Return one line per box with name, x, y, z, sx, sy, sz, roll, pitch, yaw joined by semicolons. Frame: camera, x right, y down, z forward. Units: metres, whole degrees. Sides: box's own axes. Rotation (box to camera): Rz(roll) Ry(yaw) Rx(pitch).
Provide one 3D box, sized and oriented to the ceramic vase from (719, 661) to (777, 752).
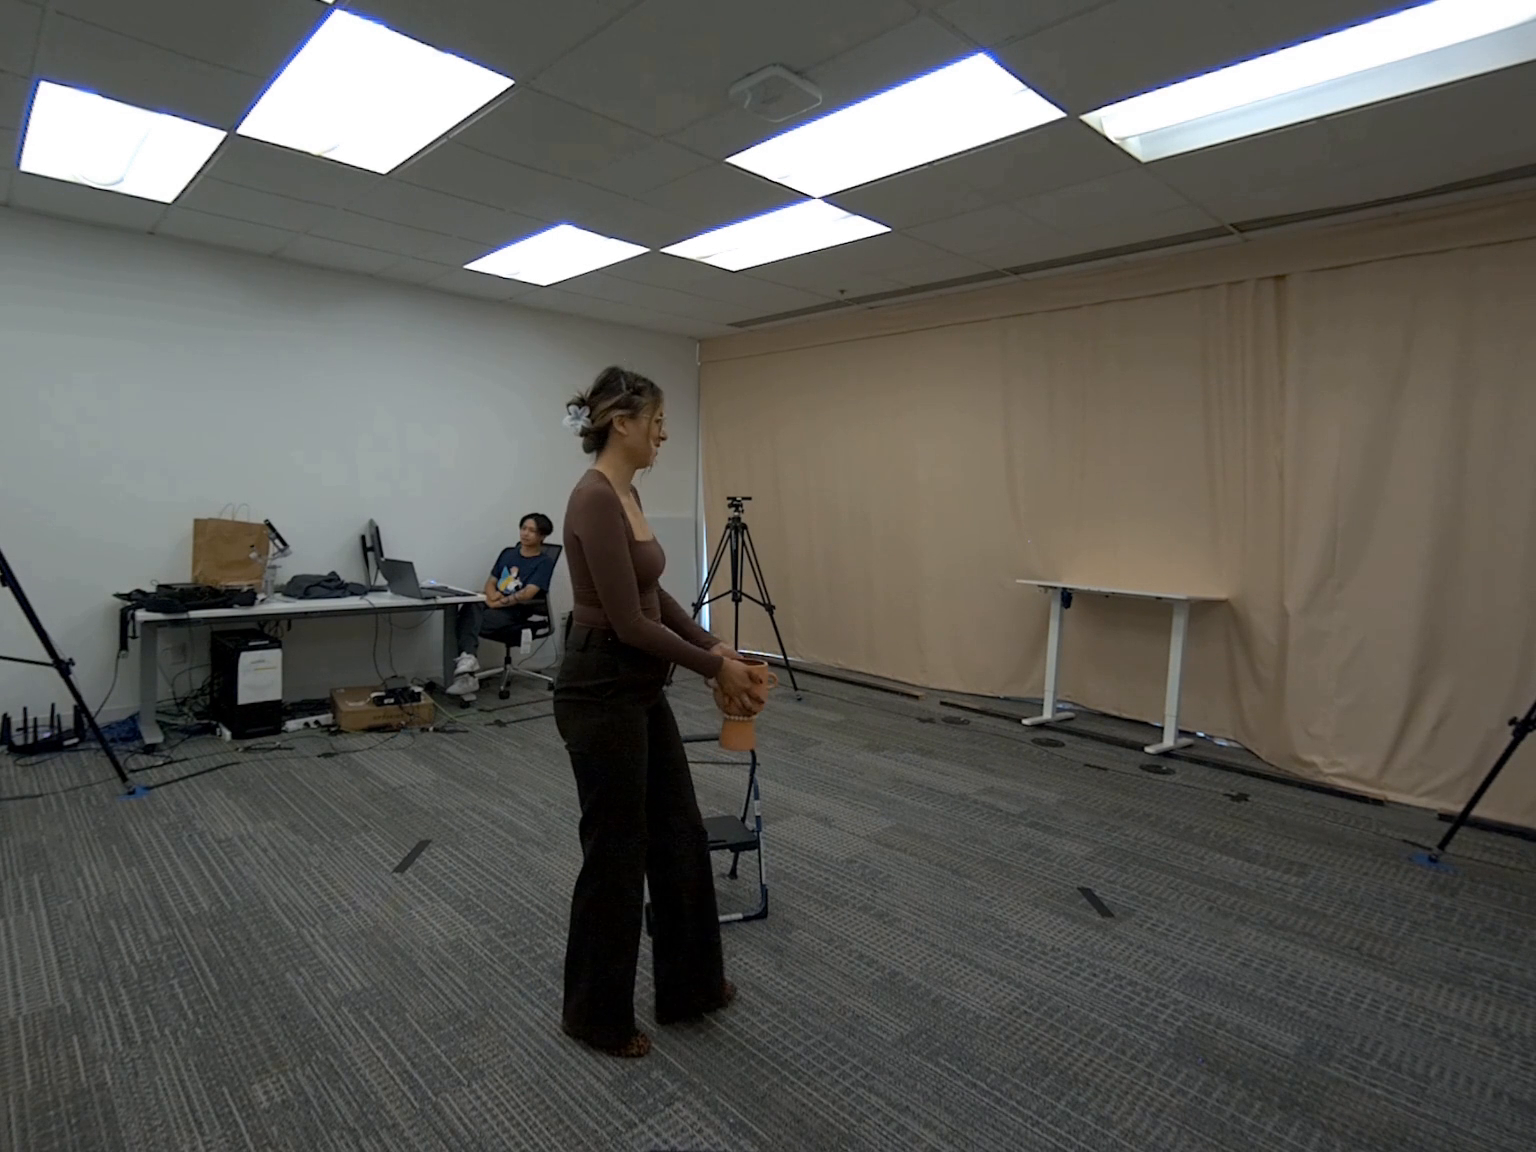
ceramic vase;-0.086;0.336;2.168;0.162;0.219;0.132;5;3;22
